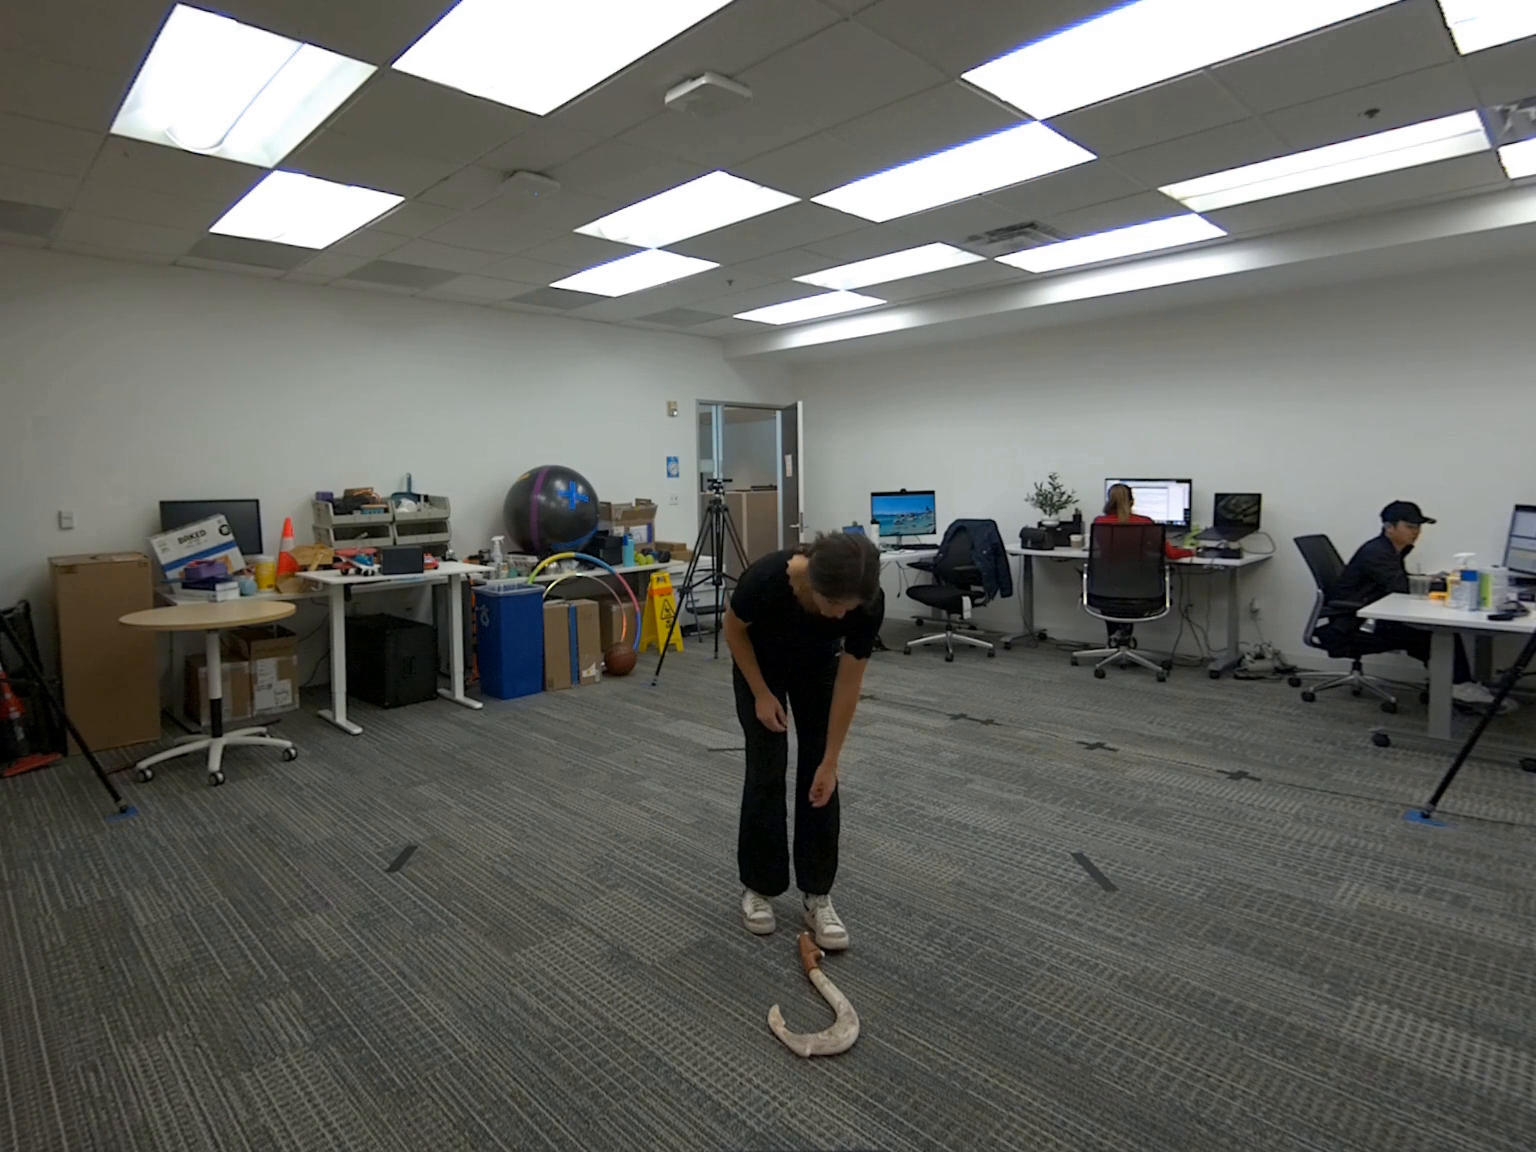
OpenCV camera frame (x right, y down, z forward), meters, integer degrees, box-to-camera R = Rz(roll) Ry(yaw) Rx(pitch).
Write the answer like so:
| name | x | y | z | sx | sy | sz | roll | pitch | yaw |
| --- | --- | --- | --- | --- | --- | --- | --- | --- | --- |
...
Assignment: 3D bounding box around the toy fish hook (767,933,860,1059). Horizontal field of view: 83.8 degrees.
| name | x | y | z | sx | sy | sz | roll | pitch | yaw |
| --- | --- | --- | --- | --- | --- | --- | --- | --- | --- |
| toy fish hook | 0.095 | 1.120 | 2.300 | 0.223 | 0.048 | 0.513 | -1 | 6 | -9 |
